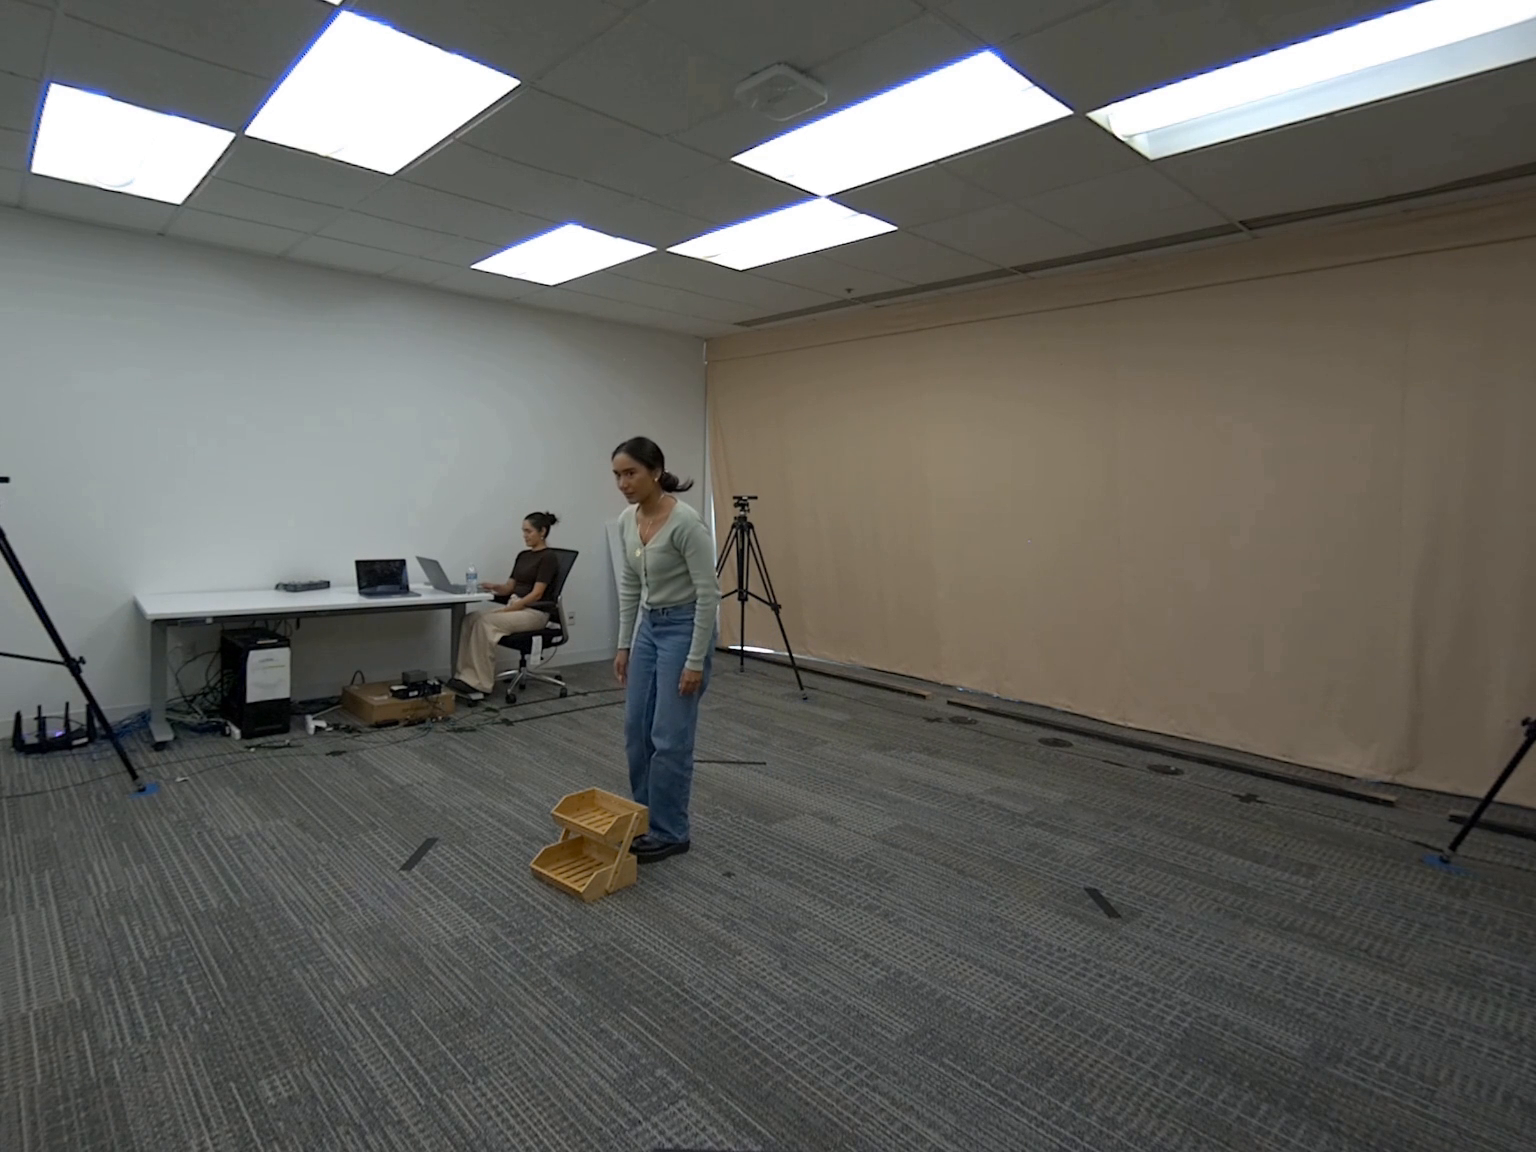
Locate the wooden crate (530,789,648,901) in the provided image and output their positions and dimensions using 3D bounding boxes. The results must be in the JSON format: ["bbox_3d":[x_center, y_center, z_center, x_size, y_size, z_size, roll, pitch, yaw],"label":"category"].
[{"bbox_3d":[-0.657,0.963,3.047,0.333,0.272,0.295,6,5,40],"label":"wooden crate"}]
